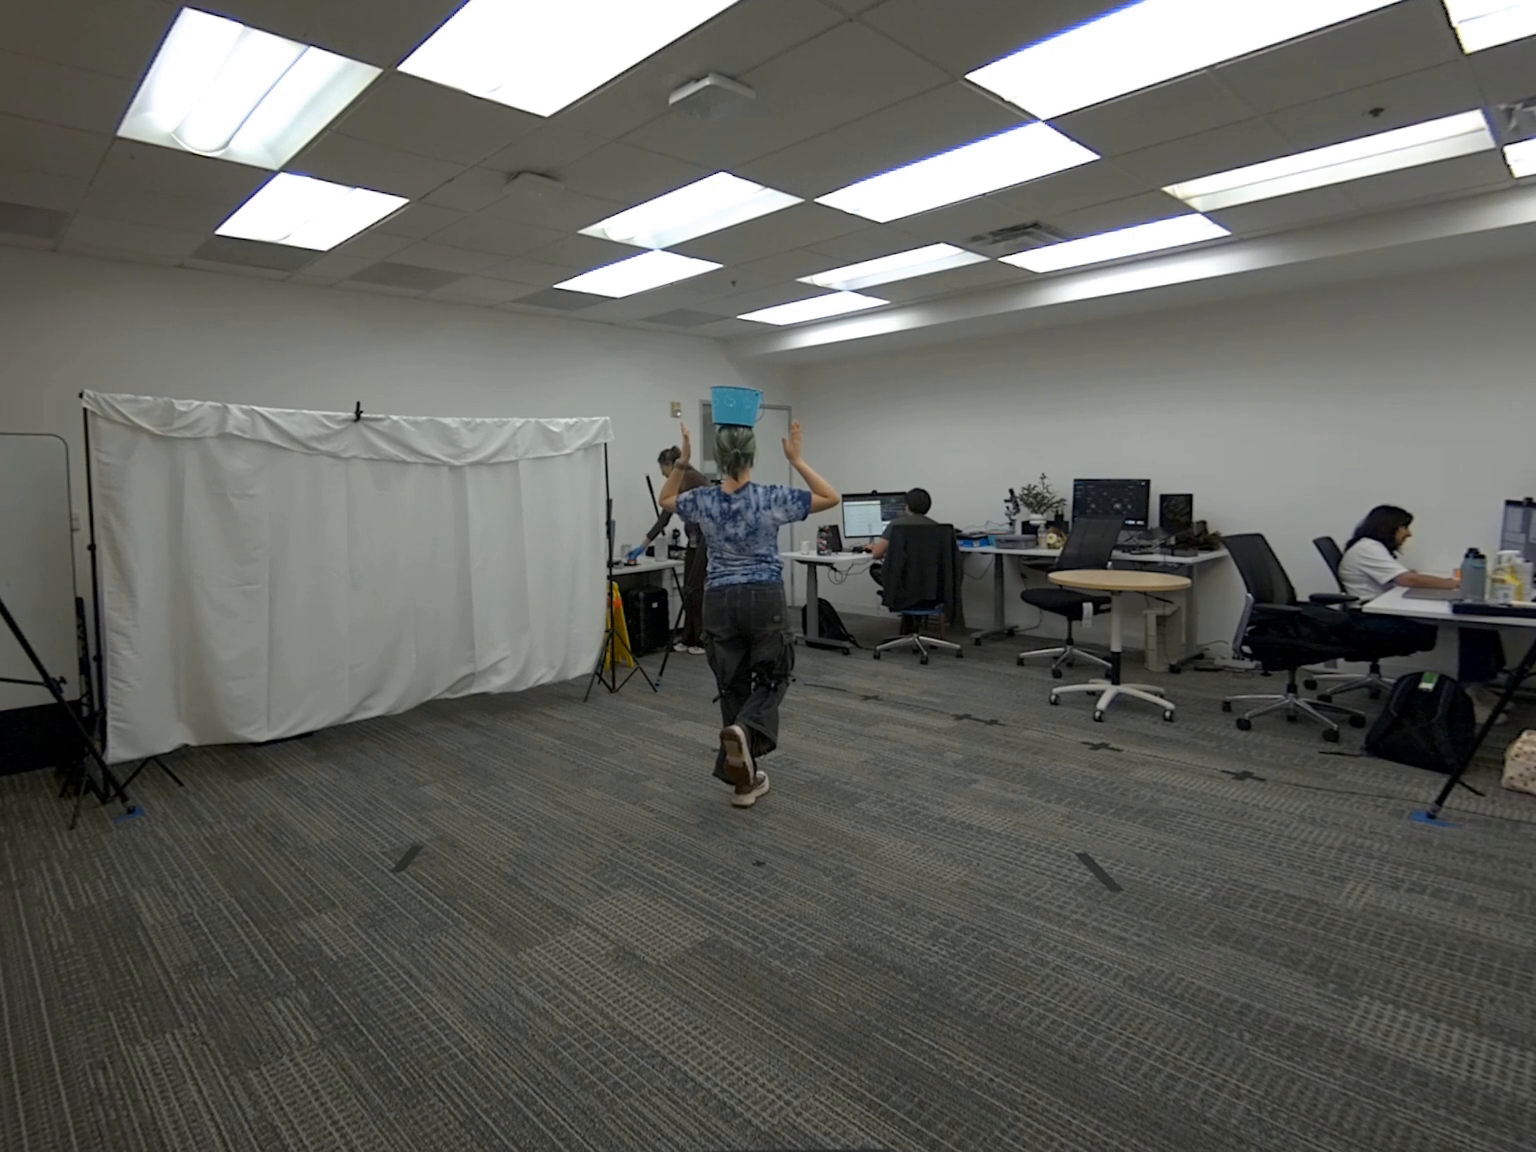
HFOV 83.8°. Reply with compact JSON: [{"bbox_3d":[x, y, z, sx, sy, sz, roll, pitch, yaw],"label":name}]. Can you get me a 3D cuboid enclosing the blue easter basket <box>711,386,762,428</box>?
[{"bbox_3d":[-0.142,-0.720,3.680,0.243,0.155,0.244,4,3,-2],"label":"blue easter basket"}]
